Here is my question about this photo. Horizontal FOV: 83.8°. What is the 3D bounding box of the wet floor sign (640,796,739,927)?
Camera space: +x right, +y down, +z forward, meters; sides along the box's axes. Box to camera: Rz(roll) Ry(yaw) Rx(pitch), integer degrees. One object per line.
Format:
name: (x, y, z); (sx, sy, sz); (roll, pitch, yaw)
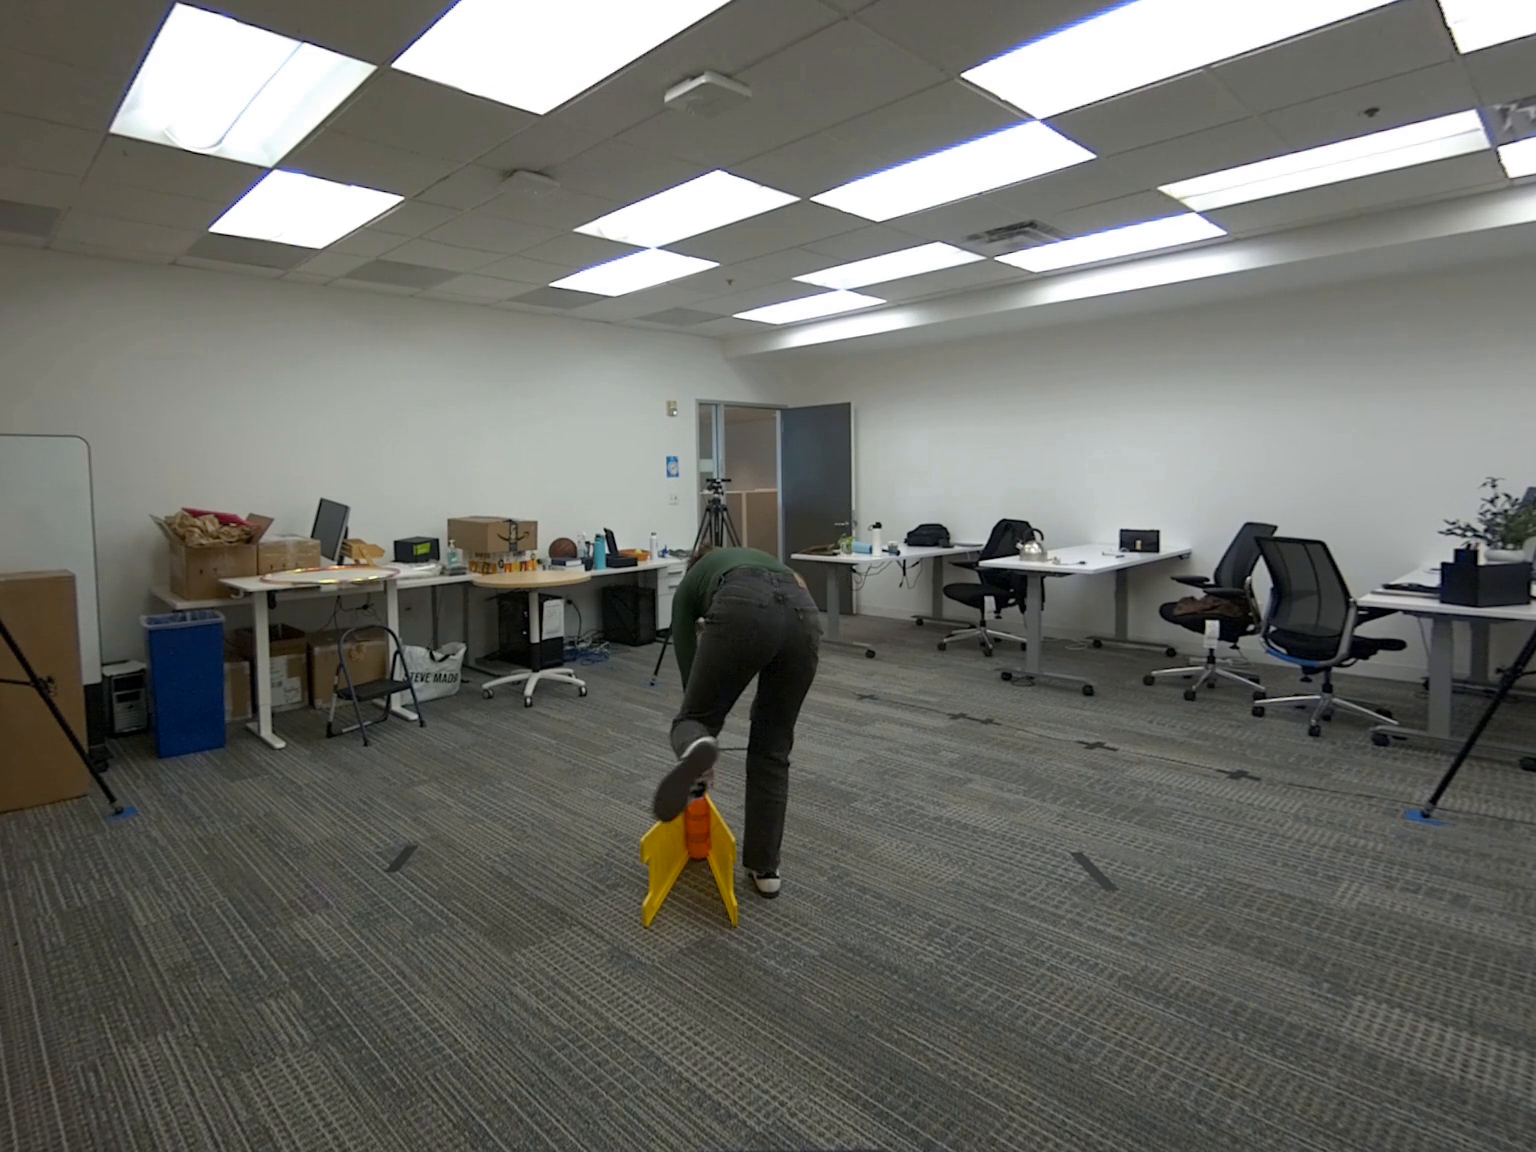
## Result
wet floor sign: (-0.256, 0.928, 2.986); (0.289, 0.281, 0.648); (-1, 4, -2)
